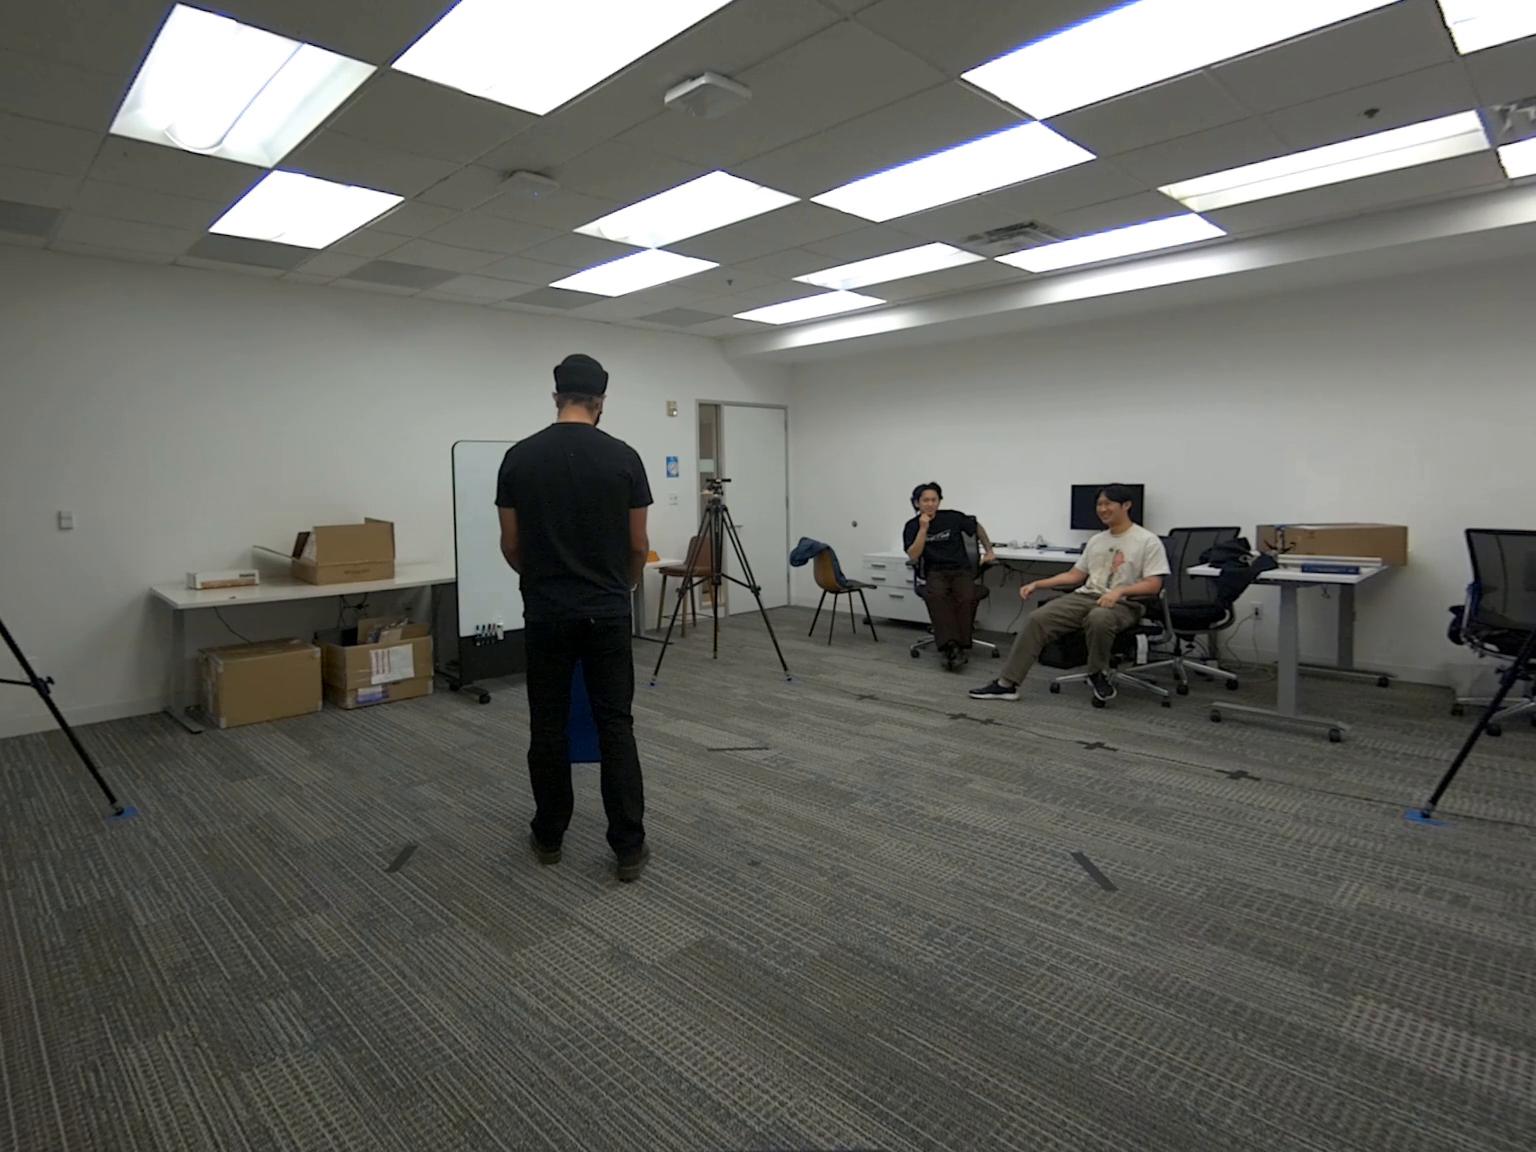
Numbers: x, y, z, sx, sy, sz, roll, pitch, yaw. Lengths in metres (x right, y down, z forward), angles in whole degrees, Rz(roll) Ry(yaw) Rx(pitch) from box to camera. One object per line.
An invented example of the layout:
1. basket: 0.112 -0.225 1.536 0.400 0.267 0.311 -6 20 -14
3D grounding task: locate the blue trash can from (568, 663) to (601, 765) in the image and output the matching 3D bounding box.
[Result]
1. blue trash can: -0.774 0.393 3.566 0.377 0.715 0.374 -1 -2 -3
